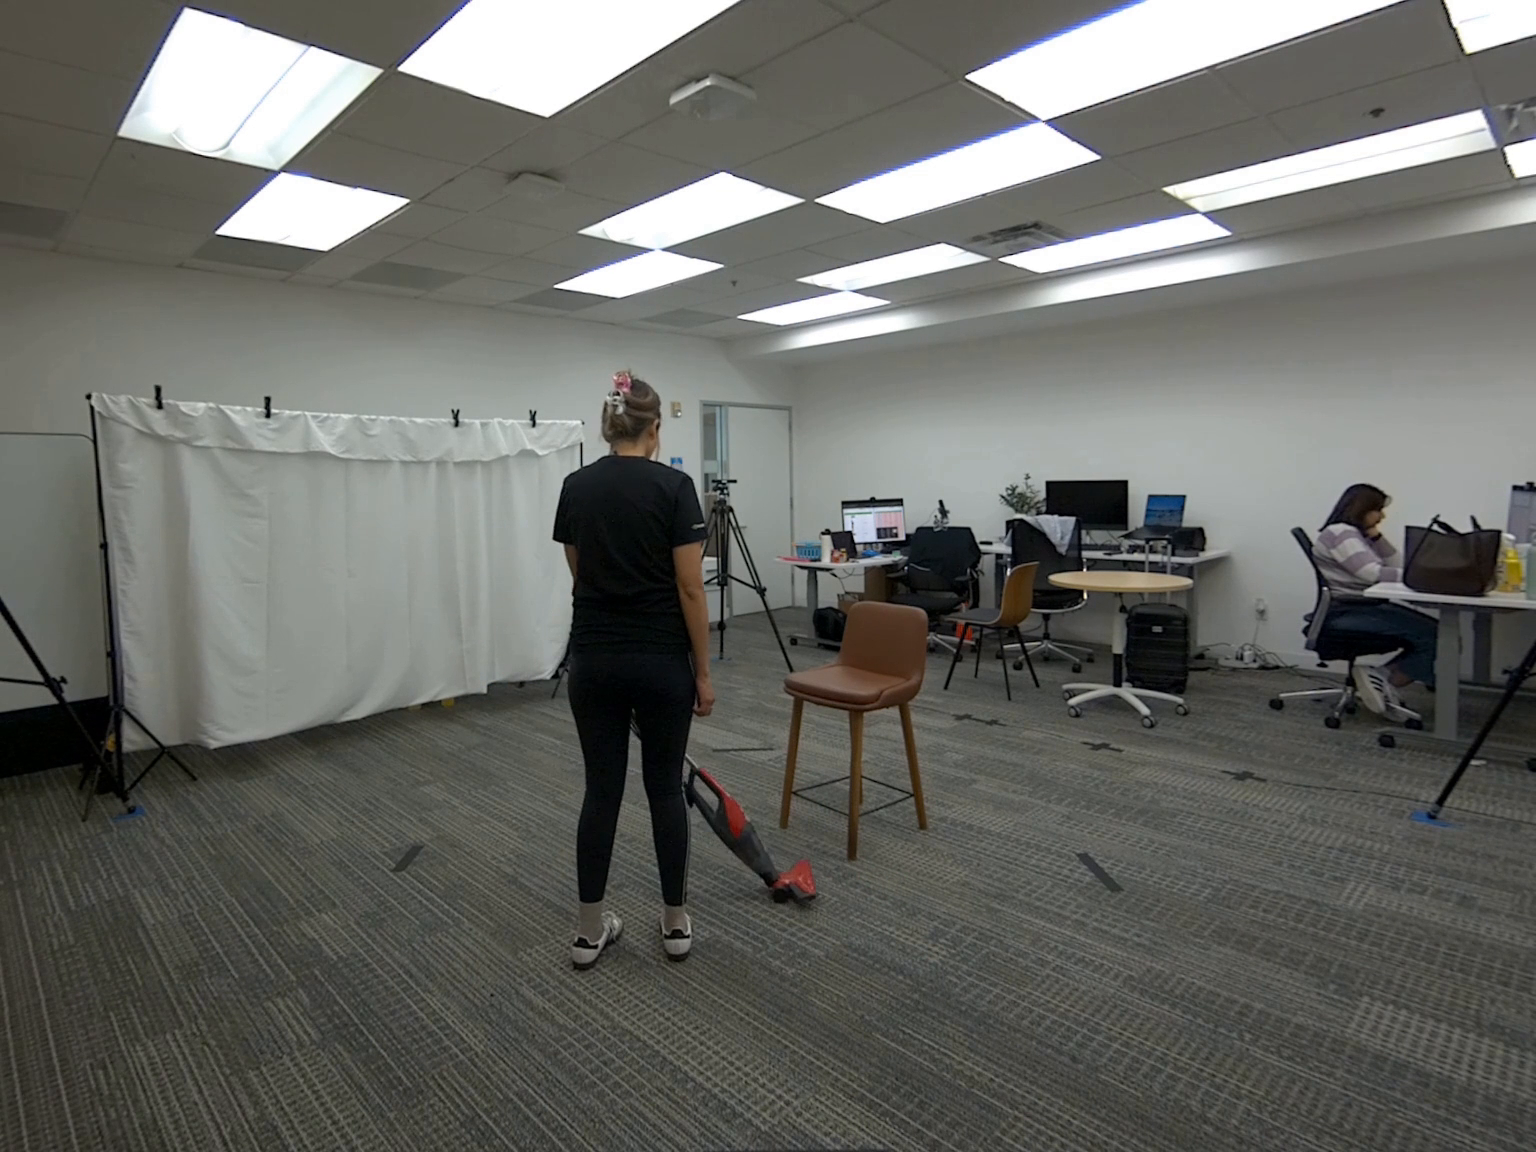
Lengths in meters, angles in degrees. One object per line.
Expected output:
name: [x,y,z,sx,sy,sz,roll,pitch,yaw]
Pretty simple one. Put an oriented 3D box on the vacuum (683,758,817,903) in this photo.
vacuum: [-0.269,0.672,2.859,0.144,1.048,0.253,-44,1,2]
